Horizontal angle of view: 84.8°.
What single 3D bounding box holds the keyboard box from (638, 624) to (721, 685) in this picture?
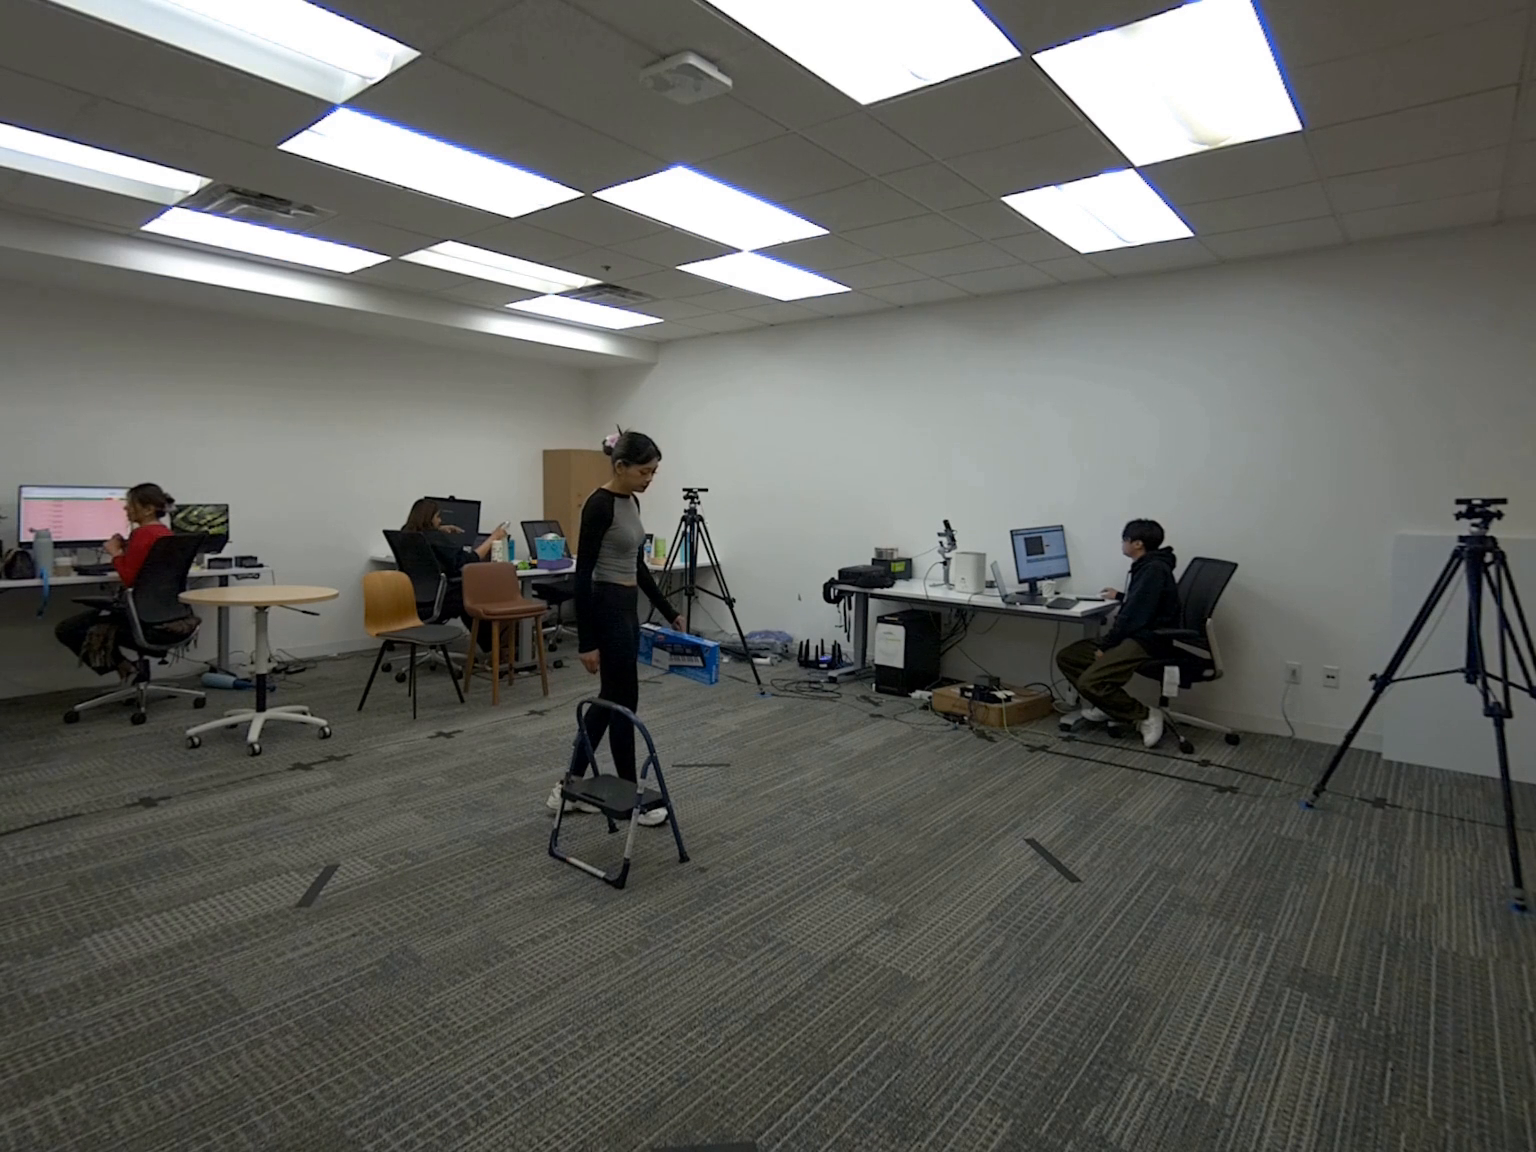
[{"bbox_3d":[-0.416,0.342,3.745,0.452,0.174,0.057,11,12,37],"label":"keyboard box"}]
